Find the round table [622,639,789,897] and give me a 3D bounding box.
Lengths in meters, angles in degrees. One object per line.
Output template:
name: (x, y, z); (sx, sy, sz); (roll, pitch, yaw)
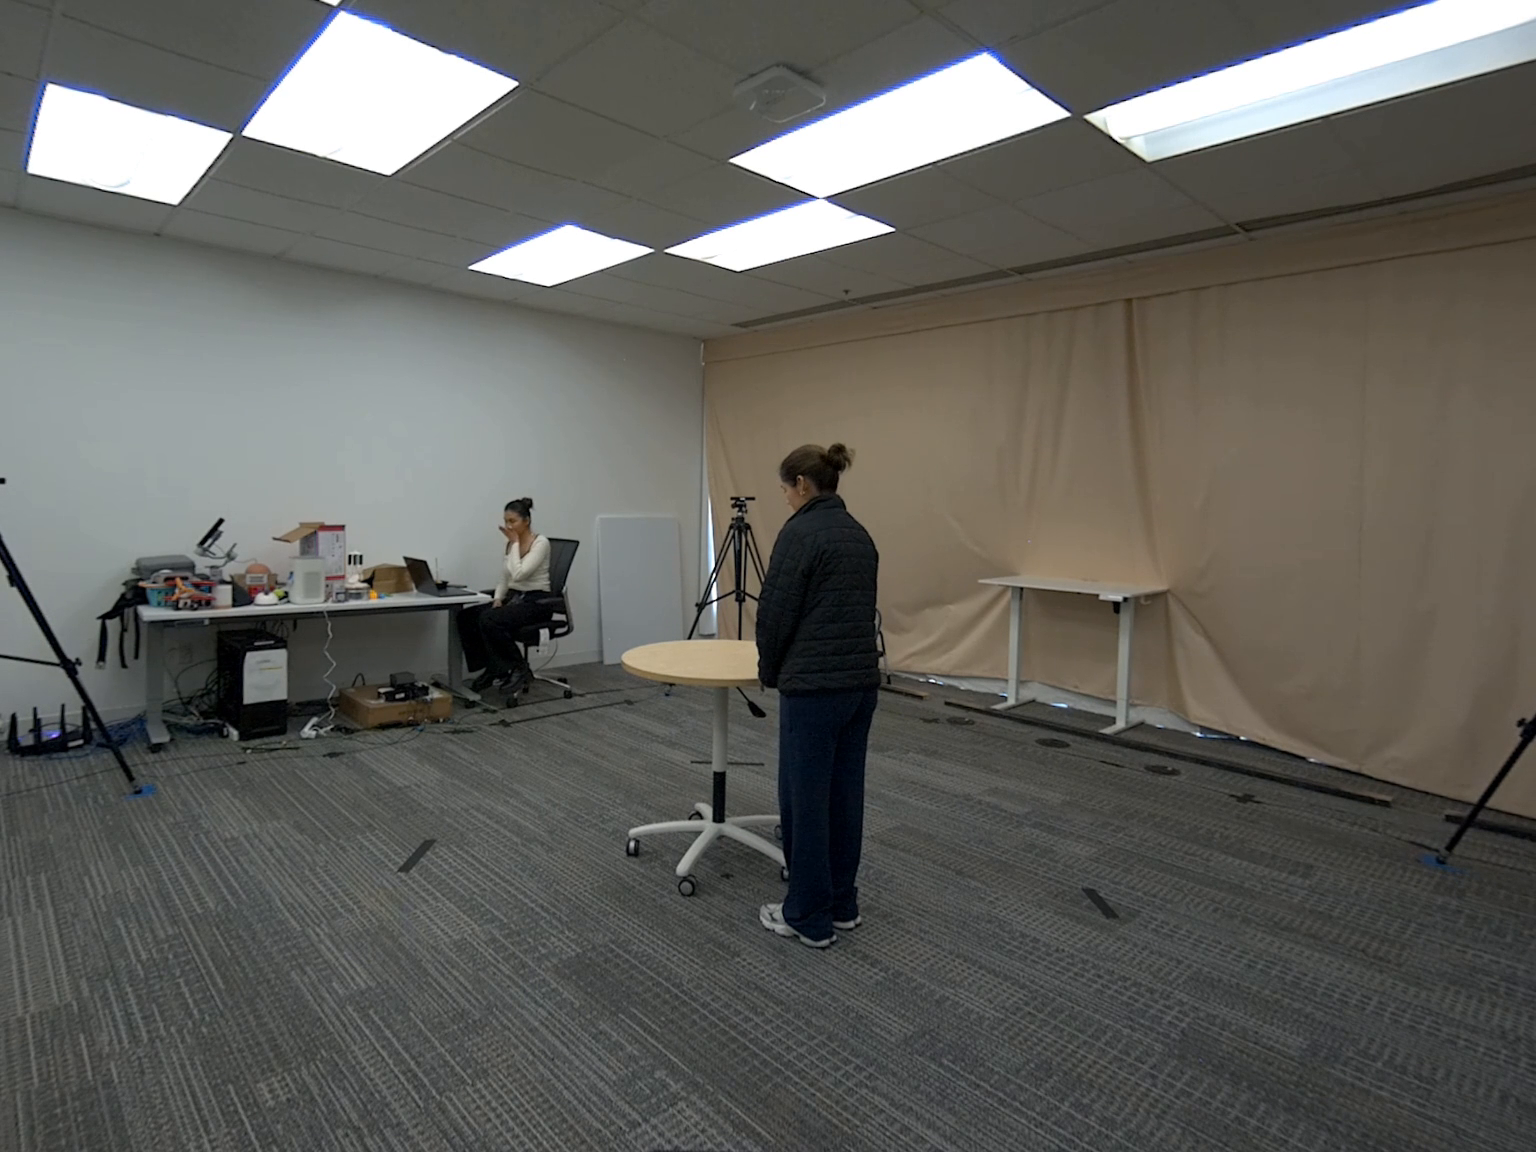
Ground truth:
round table: (-0.199, 0.703, 3.220); (0.784, 0.784, 0.788); (1, 4, -1)
